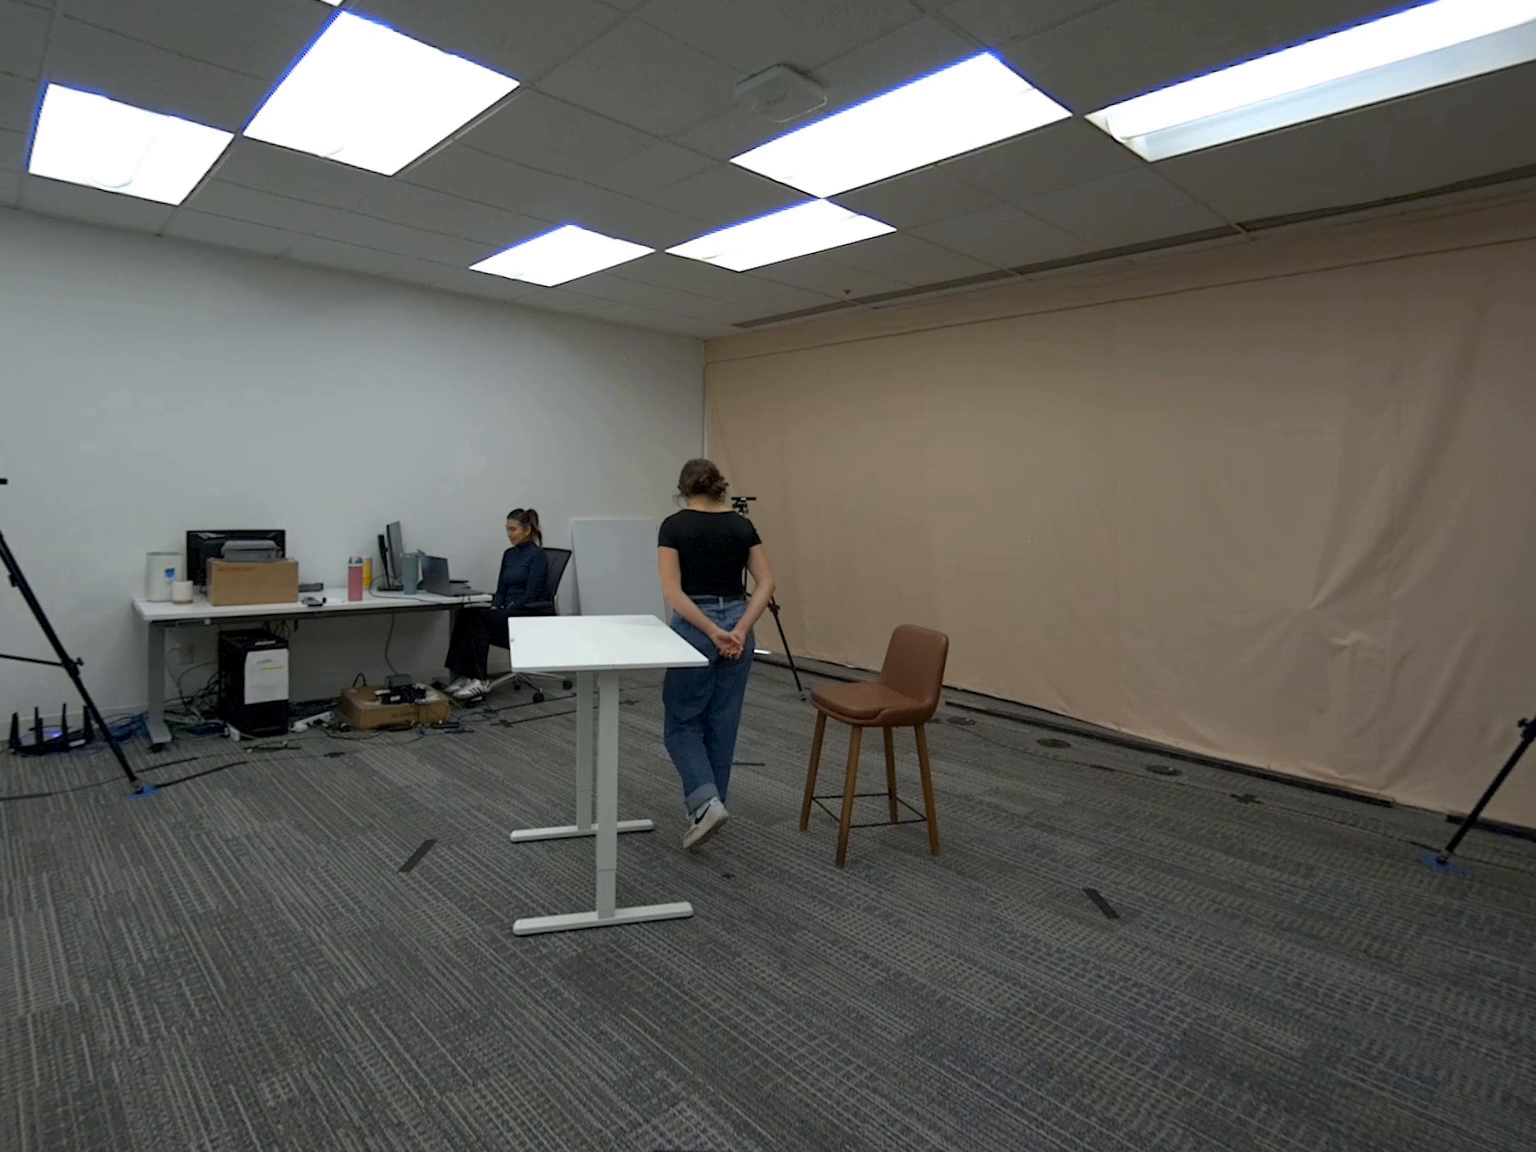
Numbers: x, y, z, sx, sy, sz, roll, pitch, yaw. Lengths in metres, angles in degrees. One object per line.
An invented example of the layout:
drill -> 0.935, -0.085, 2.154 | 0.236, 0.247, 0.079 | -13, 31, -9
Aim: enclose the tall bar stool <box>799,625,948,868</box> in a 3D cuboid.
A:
tall bar stool -> 0.417, 0.656, 3.427 | 0.461, 0.888, 0.464 | 2, 3, -19
